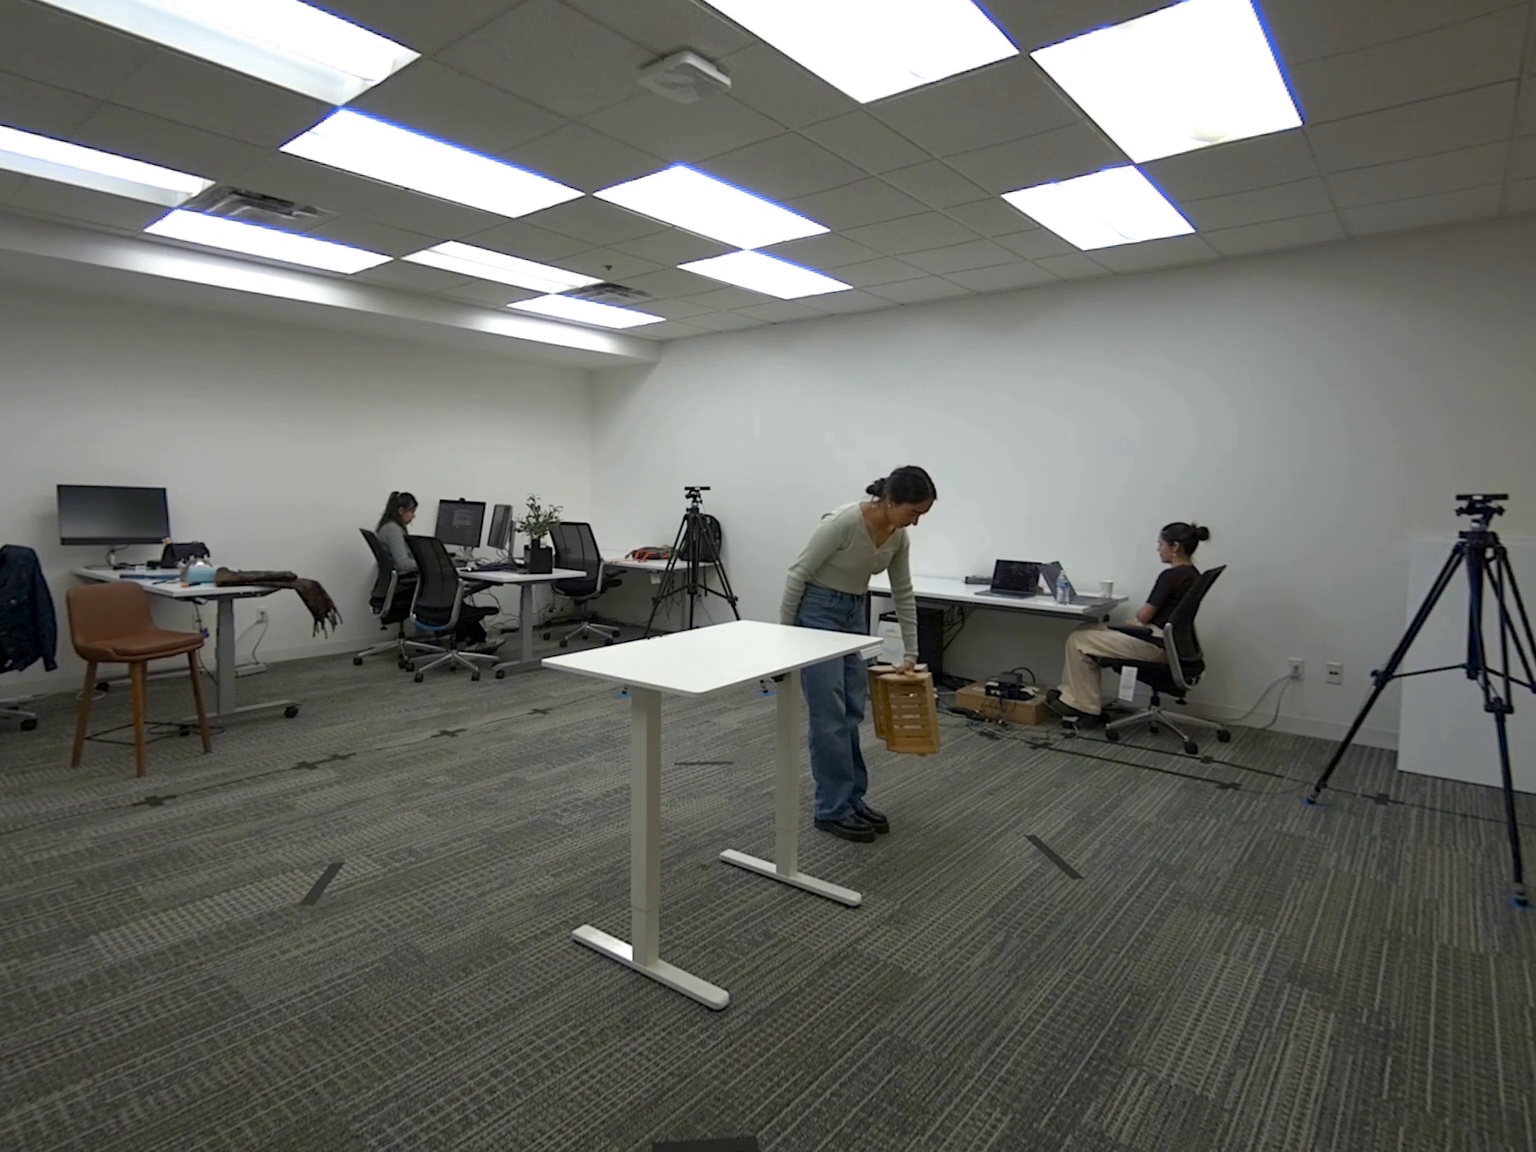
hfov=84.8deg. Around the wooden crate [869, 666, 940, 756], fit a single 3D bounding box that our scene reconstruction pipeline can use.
[{"bbox_3d":[0.540,0.541,3.510,0.308,0.324,0.268,-6,3,24],"label":"wooden crate"}]
